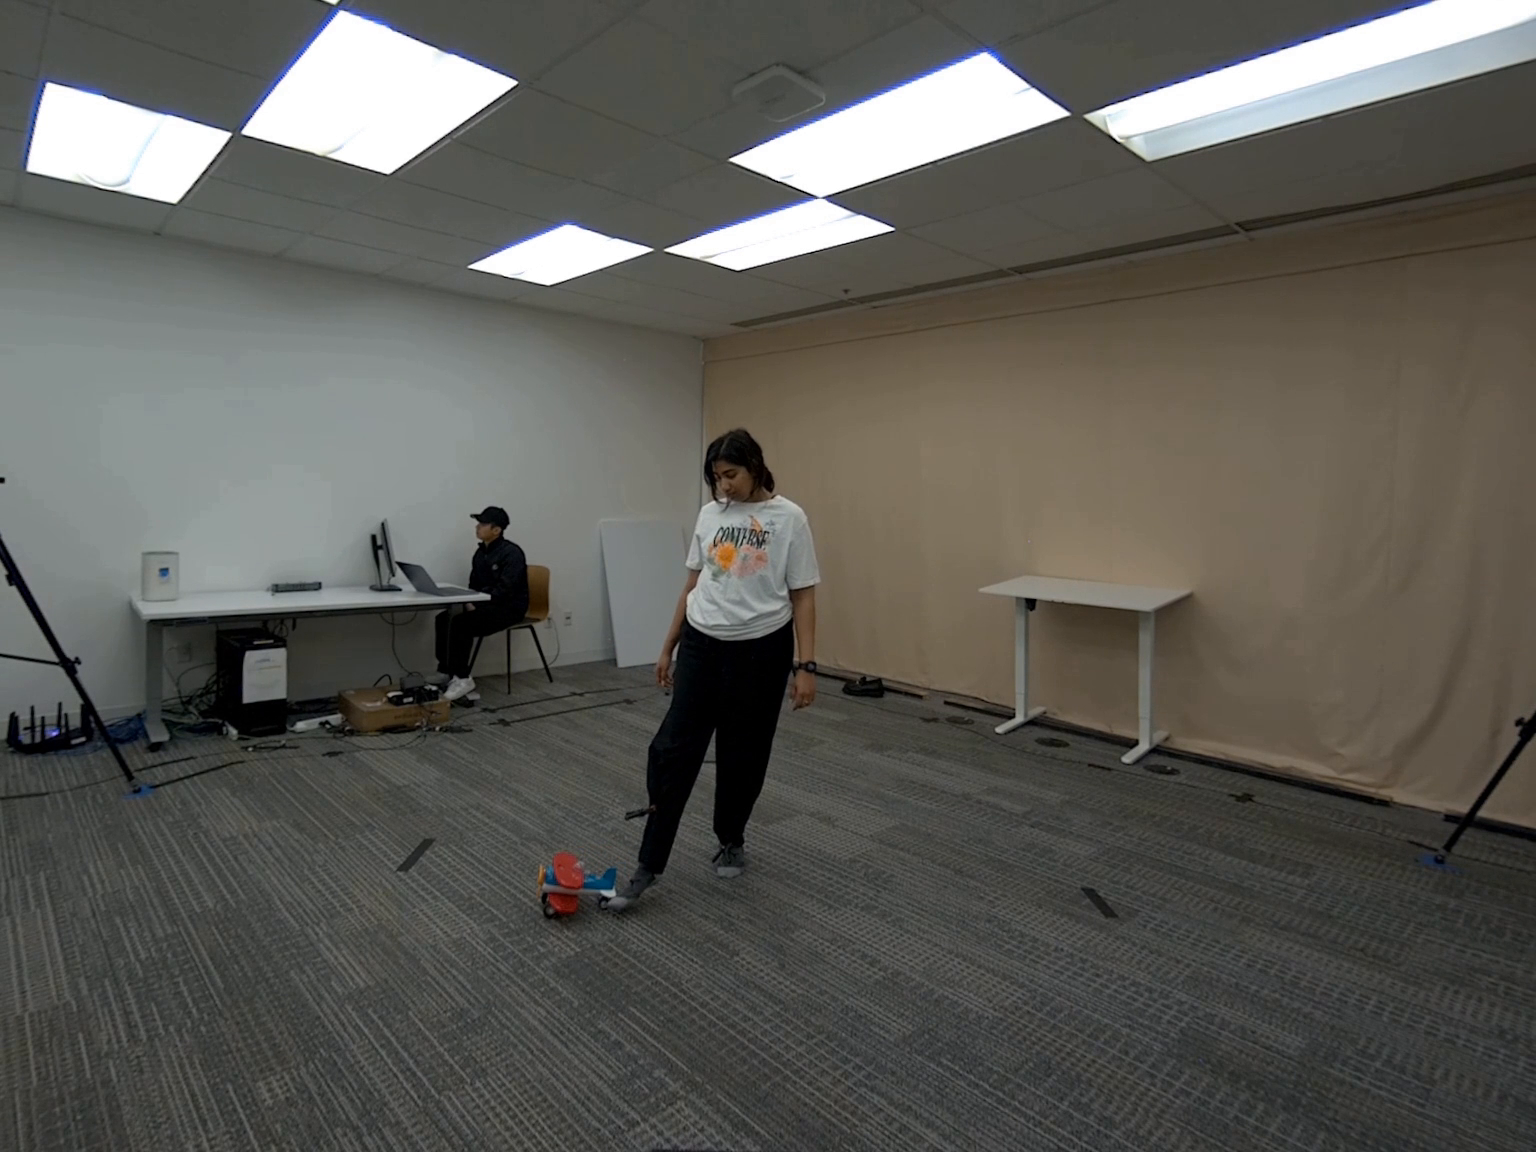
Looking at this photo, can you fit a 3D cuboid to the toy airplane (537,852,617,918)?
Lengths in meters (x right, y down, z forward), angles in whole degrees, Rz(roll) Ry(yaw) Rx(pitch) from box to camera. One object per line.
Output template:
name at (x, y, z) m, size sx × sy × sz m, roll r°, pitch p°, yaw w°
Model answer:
toy airplane at (-0.653, 1.043, 2.833) m, size 0.253 × 0.156 × 0.257 m, roll -3°, pitch 7°, yaw -42°
